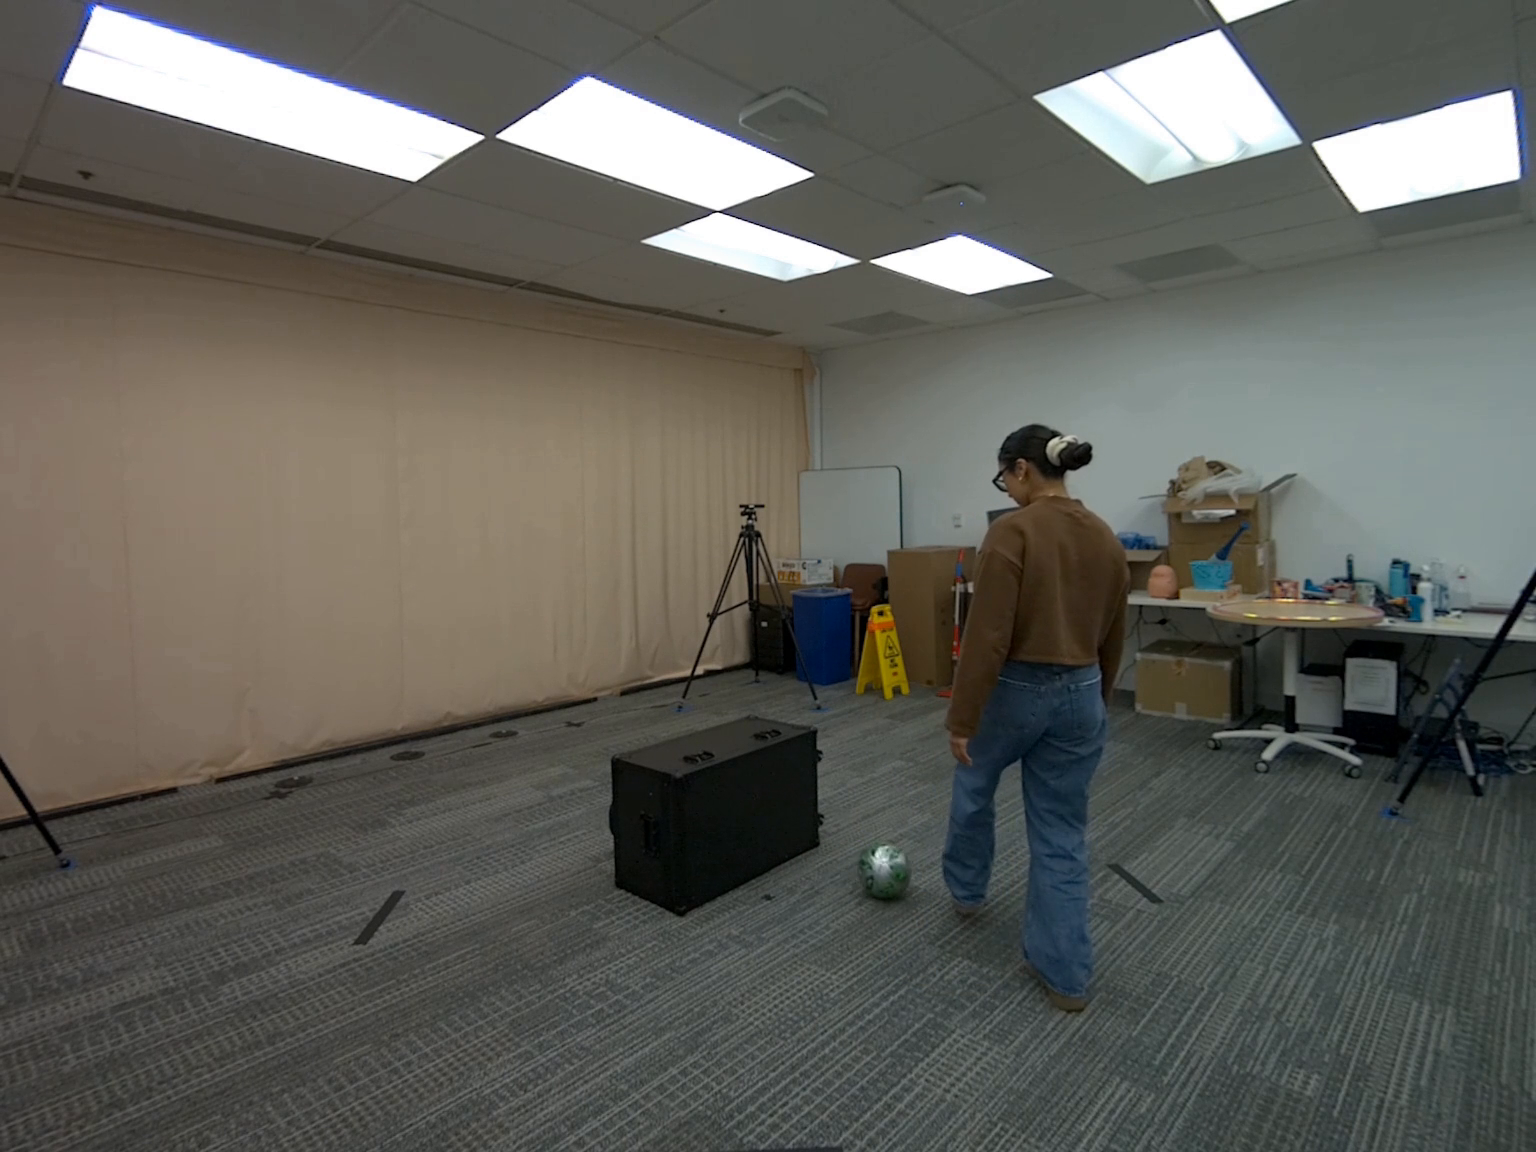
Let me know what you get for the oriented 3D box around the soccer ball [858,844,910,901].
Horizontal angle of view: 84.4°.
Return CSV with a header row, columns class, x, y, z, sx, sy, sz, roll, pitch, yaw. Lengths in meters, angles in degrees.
class,x,y,z,sx,sy,sz,roll,pitch,yaw
soccer ball,0.393,1.039,2.975,0.187,0.187,0.188,-1,4,-2
